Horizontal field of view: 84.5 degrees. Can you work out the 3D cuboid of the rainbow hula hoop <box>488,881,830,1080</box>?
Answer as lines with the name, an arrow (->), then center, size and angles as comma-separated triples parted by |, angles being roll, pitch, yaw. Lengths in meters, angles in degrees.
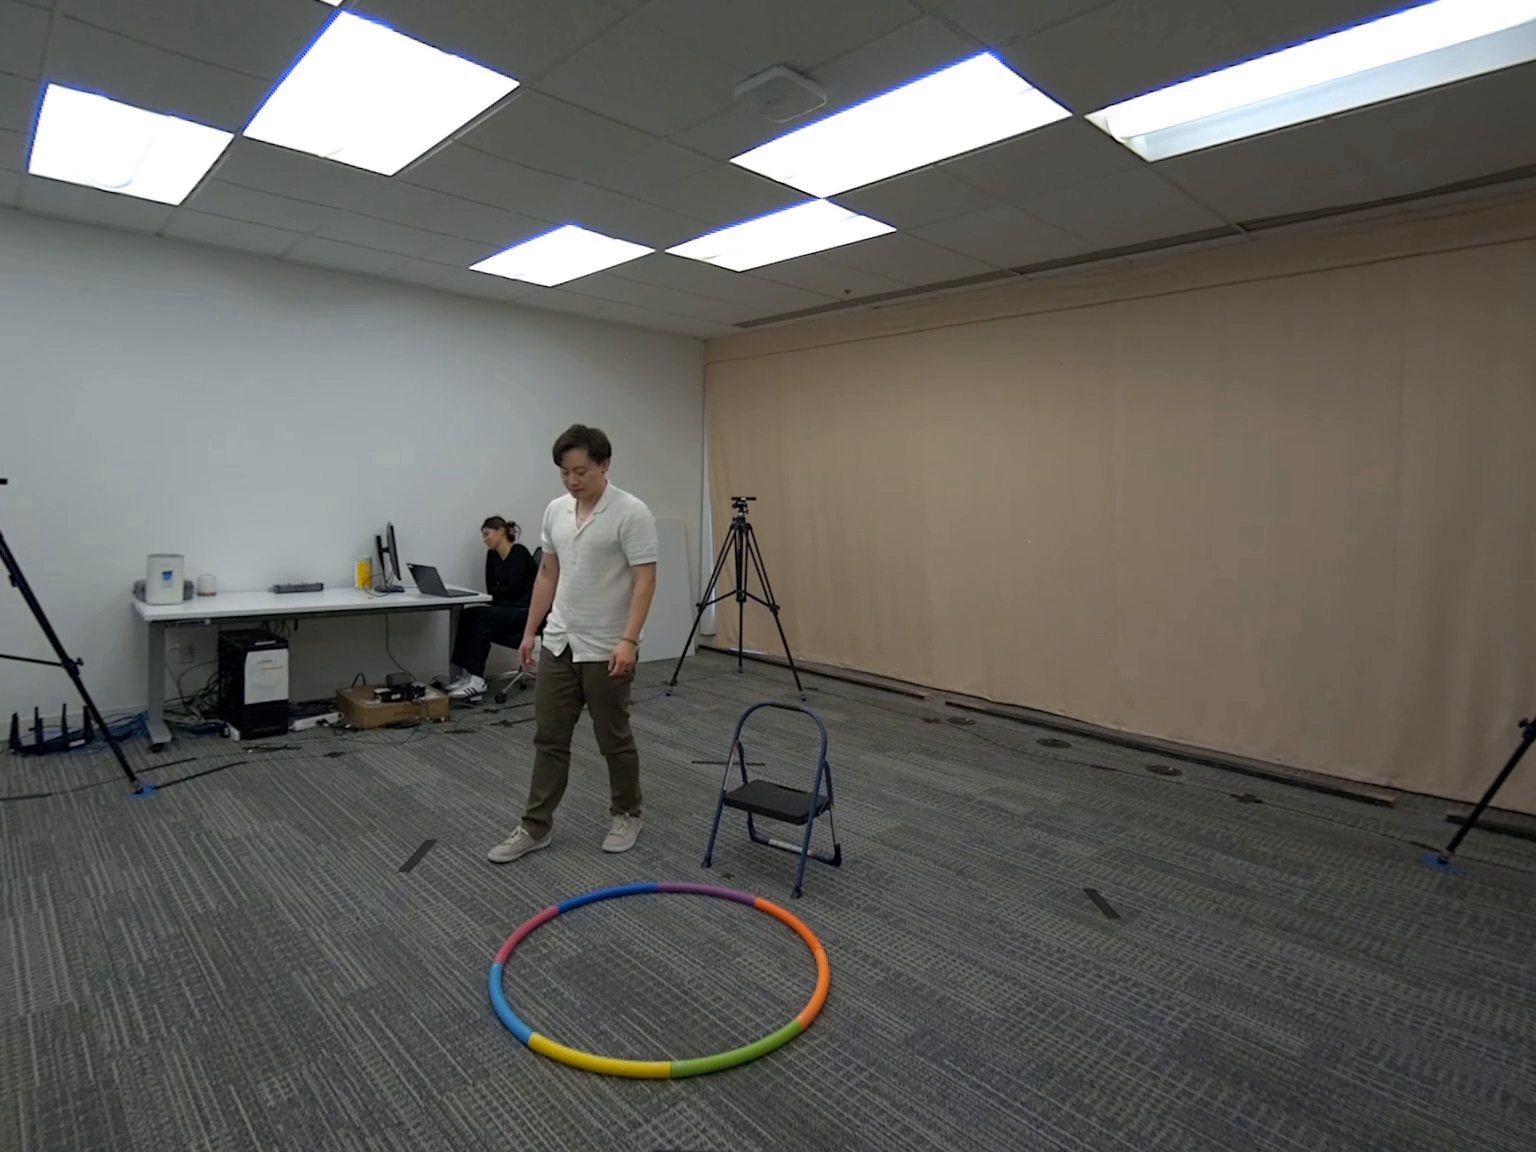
rainbow hula hoop -> -0.317, 1.131, 2.490 | 0.978, 0.035, 0.982 | 1, 5, -1
